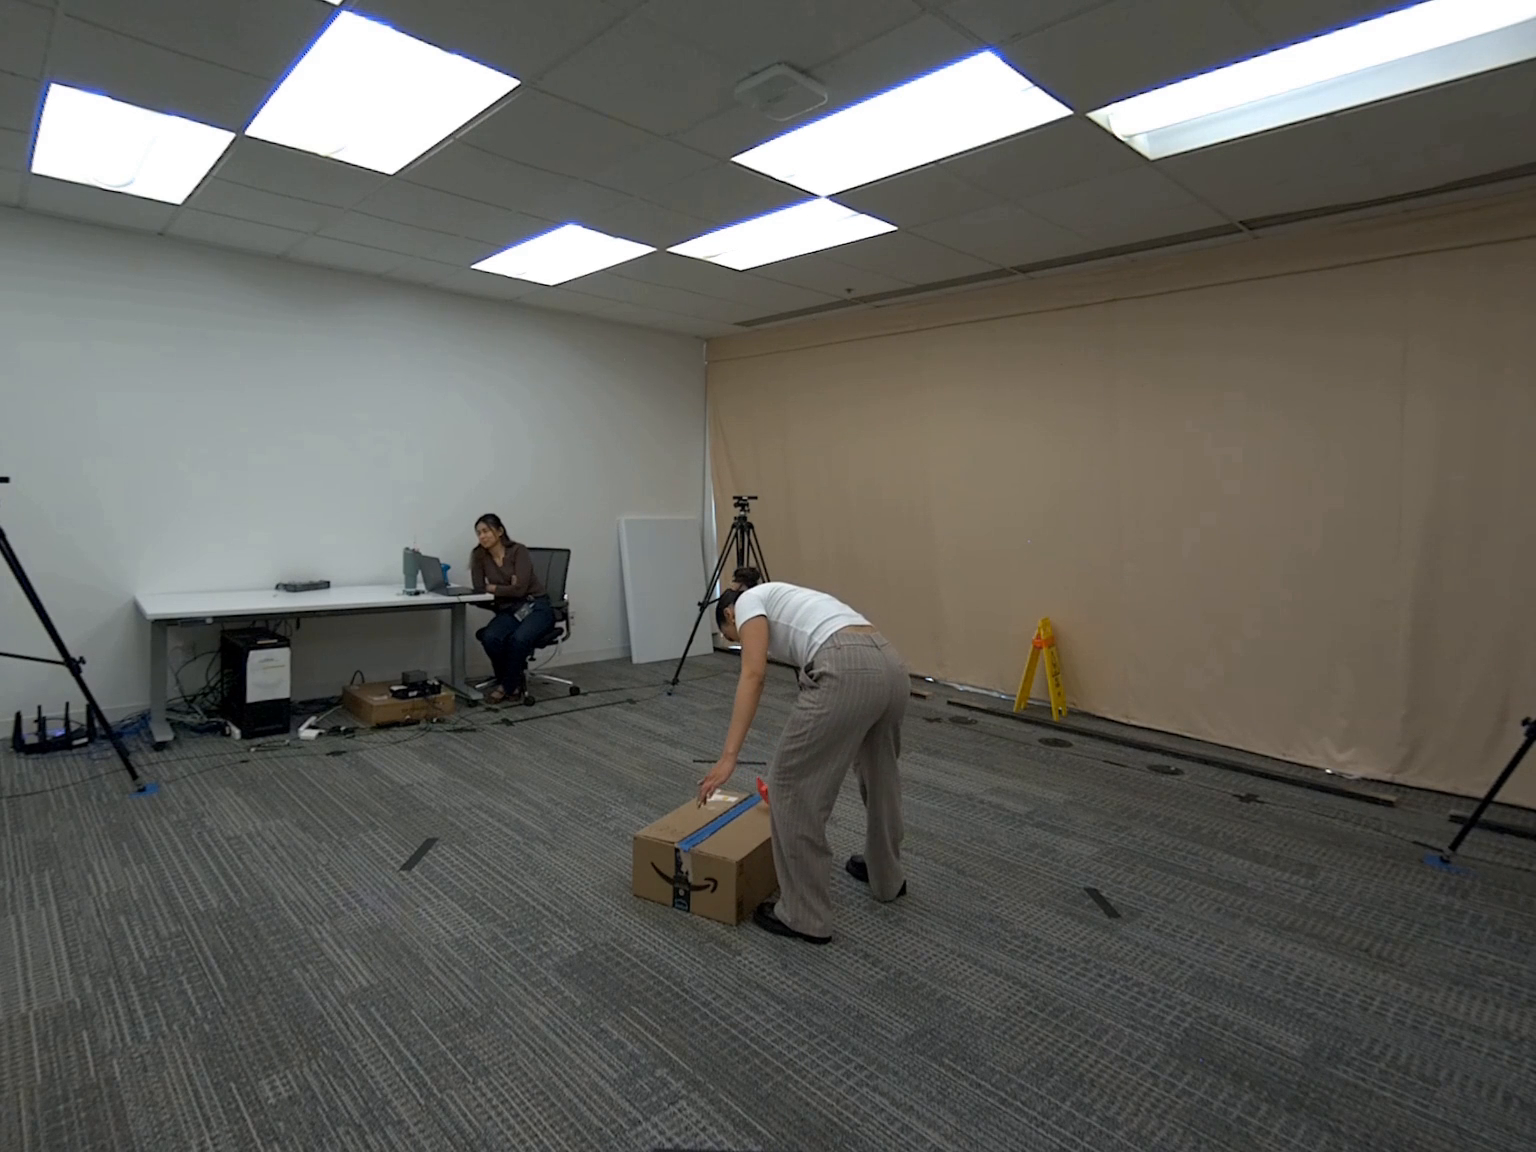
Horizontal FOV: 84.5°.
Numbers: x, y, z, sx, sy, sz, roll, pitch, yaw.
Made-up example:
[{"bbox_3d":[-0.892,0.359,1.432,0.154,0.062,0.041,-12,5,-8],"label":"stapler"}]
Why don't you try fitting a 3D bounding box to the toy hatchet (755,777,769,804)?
[{"bbox_3d":[0.061,0.841,3.102,0.278,0.128,0.029,15,36,40],"label":"toy hatchet"}]
